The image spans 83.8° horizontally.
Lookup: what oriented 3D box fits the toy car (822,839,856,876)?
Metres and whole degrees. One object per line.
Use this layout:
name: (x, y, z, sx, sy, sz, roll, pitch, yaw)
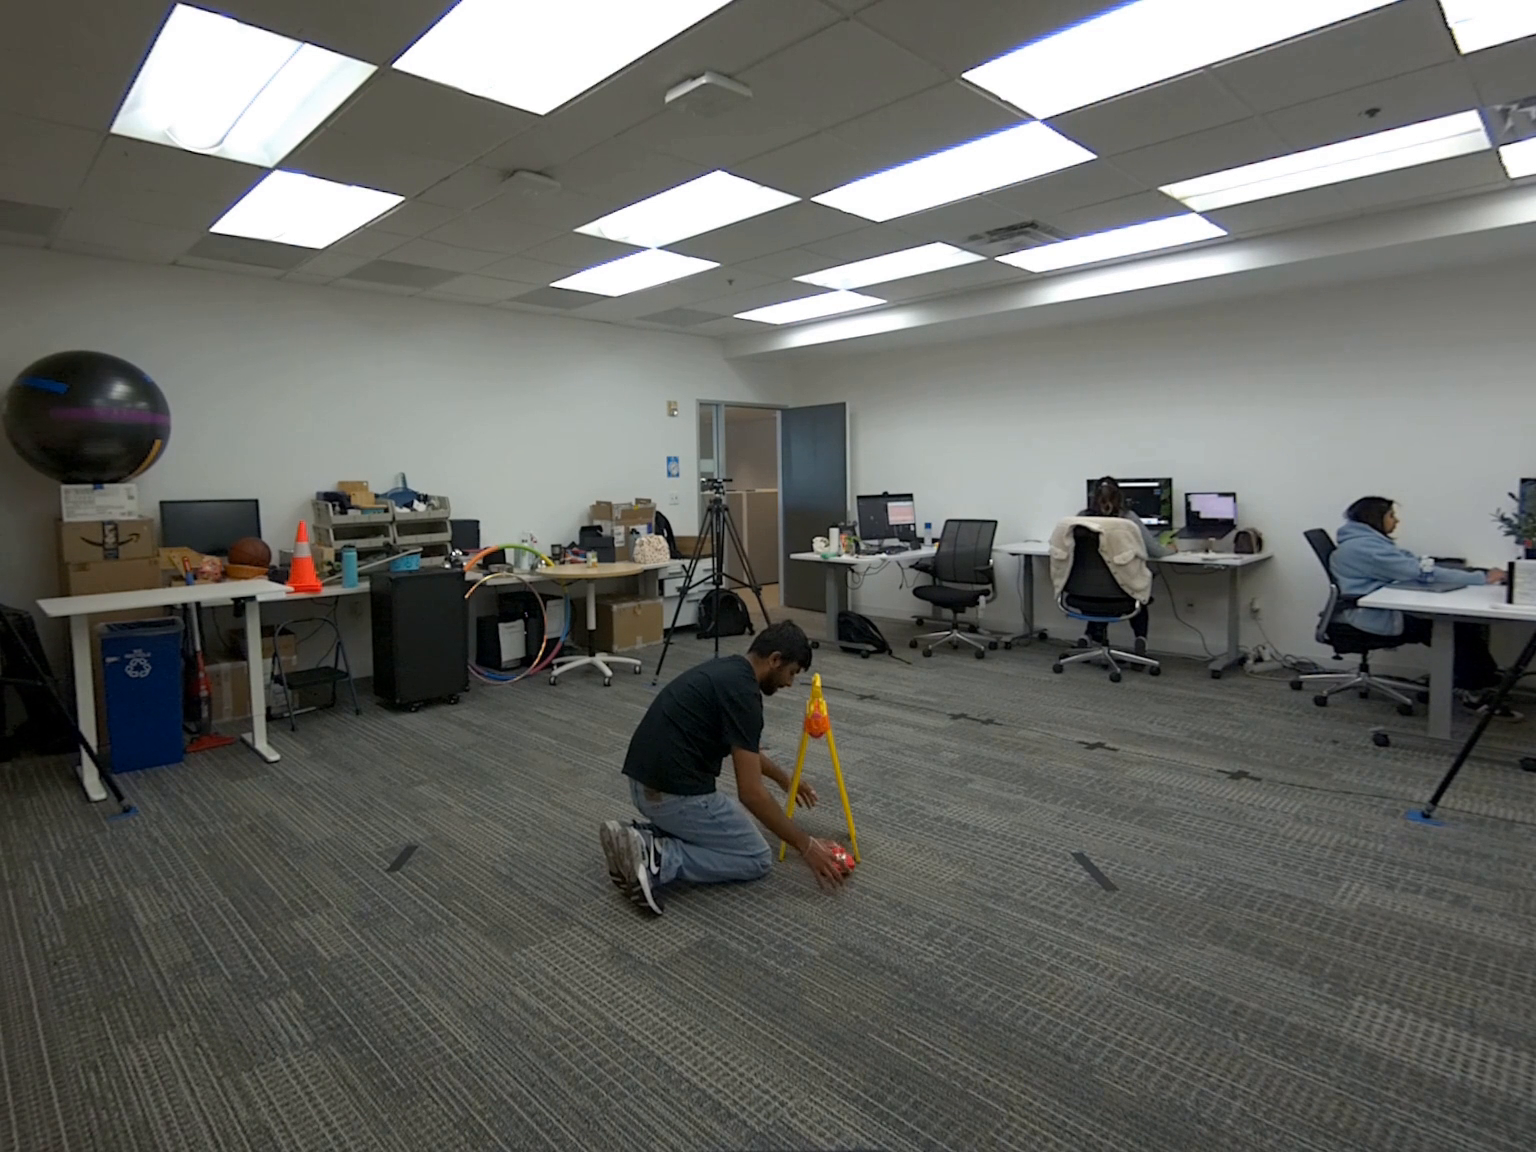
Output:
toy car: (0.228, 1.002, 3.086, 0.128, 0.083, 0.257, 1, -4, -18)
